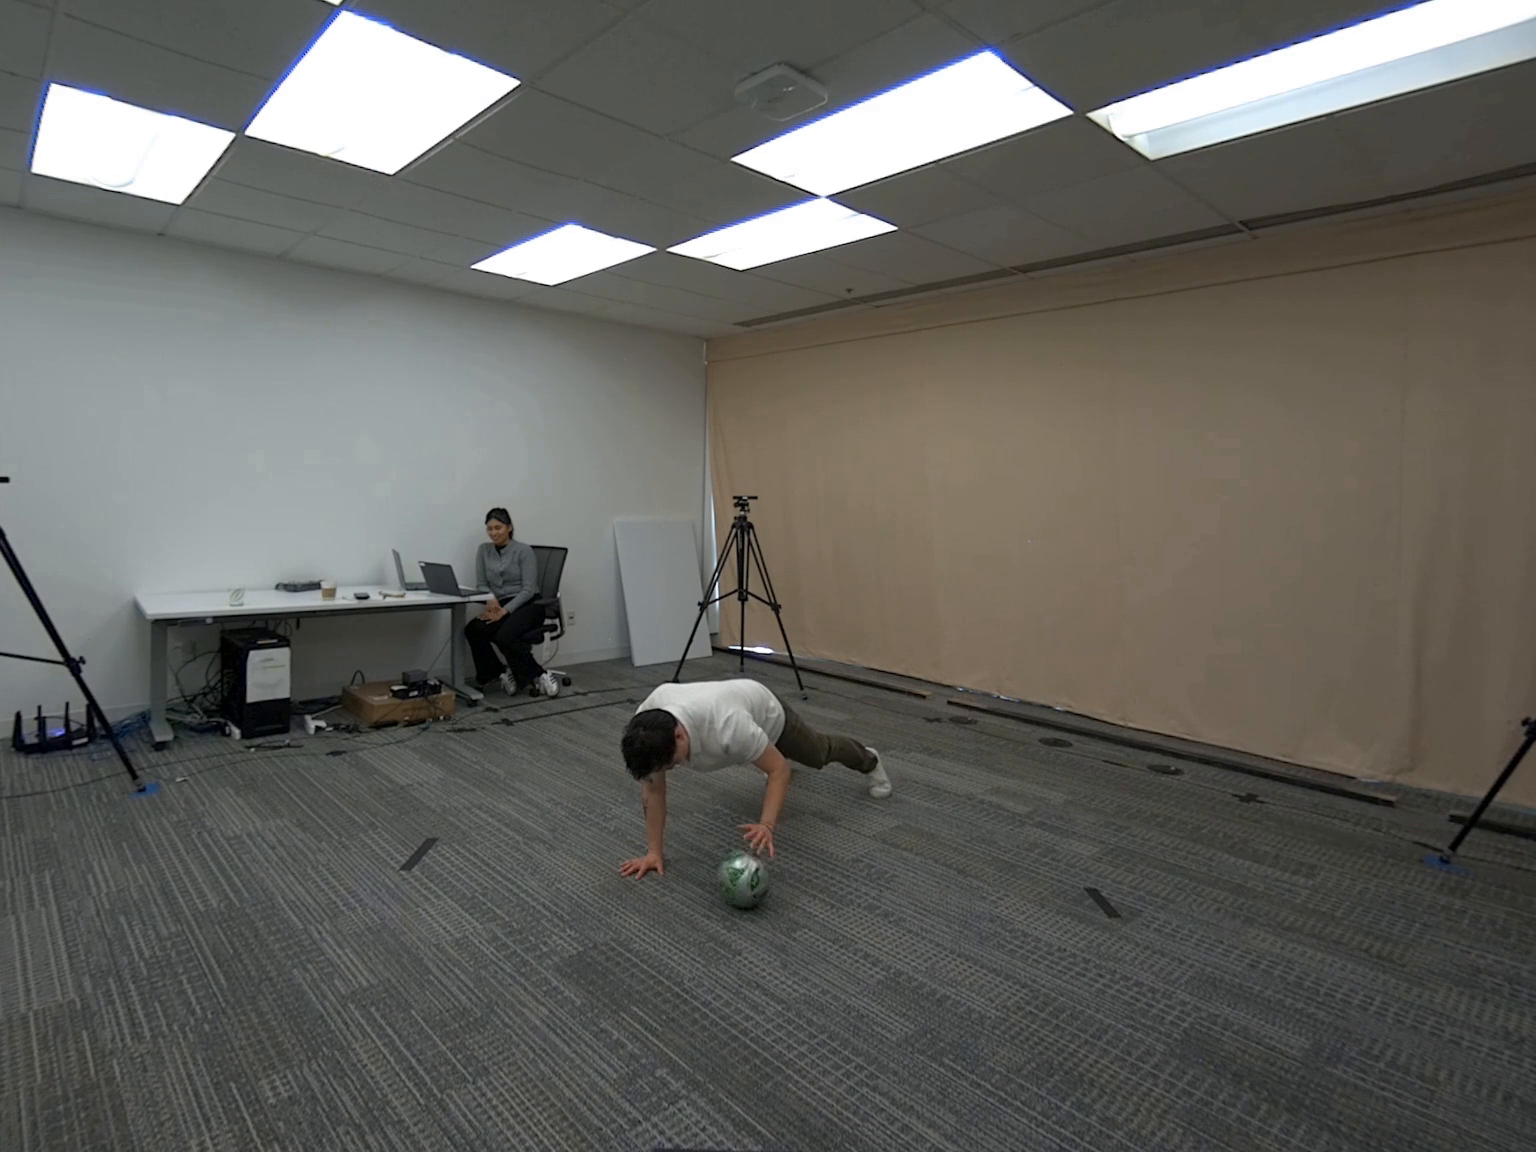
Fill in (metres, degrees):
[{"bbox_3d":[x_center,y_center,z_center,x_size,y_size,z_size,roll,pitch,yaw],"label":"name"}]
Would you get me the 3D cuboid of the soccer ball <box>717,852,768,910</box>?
[{"bbox_3d":[-0.104,1.028,2.869,0.187,0.187,0.188,1,4,-1],"label":"soccer ball"}]
